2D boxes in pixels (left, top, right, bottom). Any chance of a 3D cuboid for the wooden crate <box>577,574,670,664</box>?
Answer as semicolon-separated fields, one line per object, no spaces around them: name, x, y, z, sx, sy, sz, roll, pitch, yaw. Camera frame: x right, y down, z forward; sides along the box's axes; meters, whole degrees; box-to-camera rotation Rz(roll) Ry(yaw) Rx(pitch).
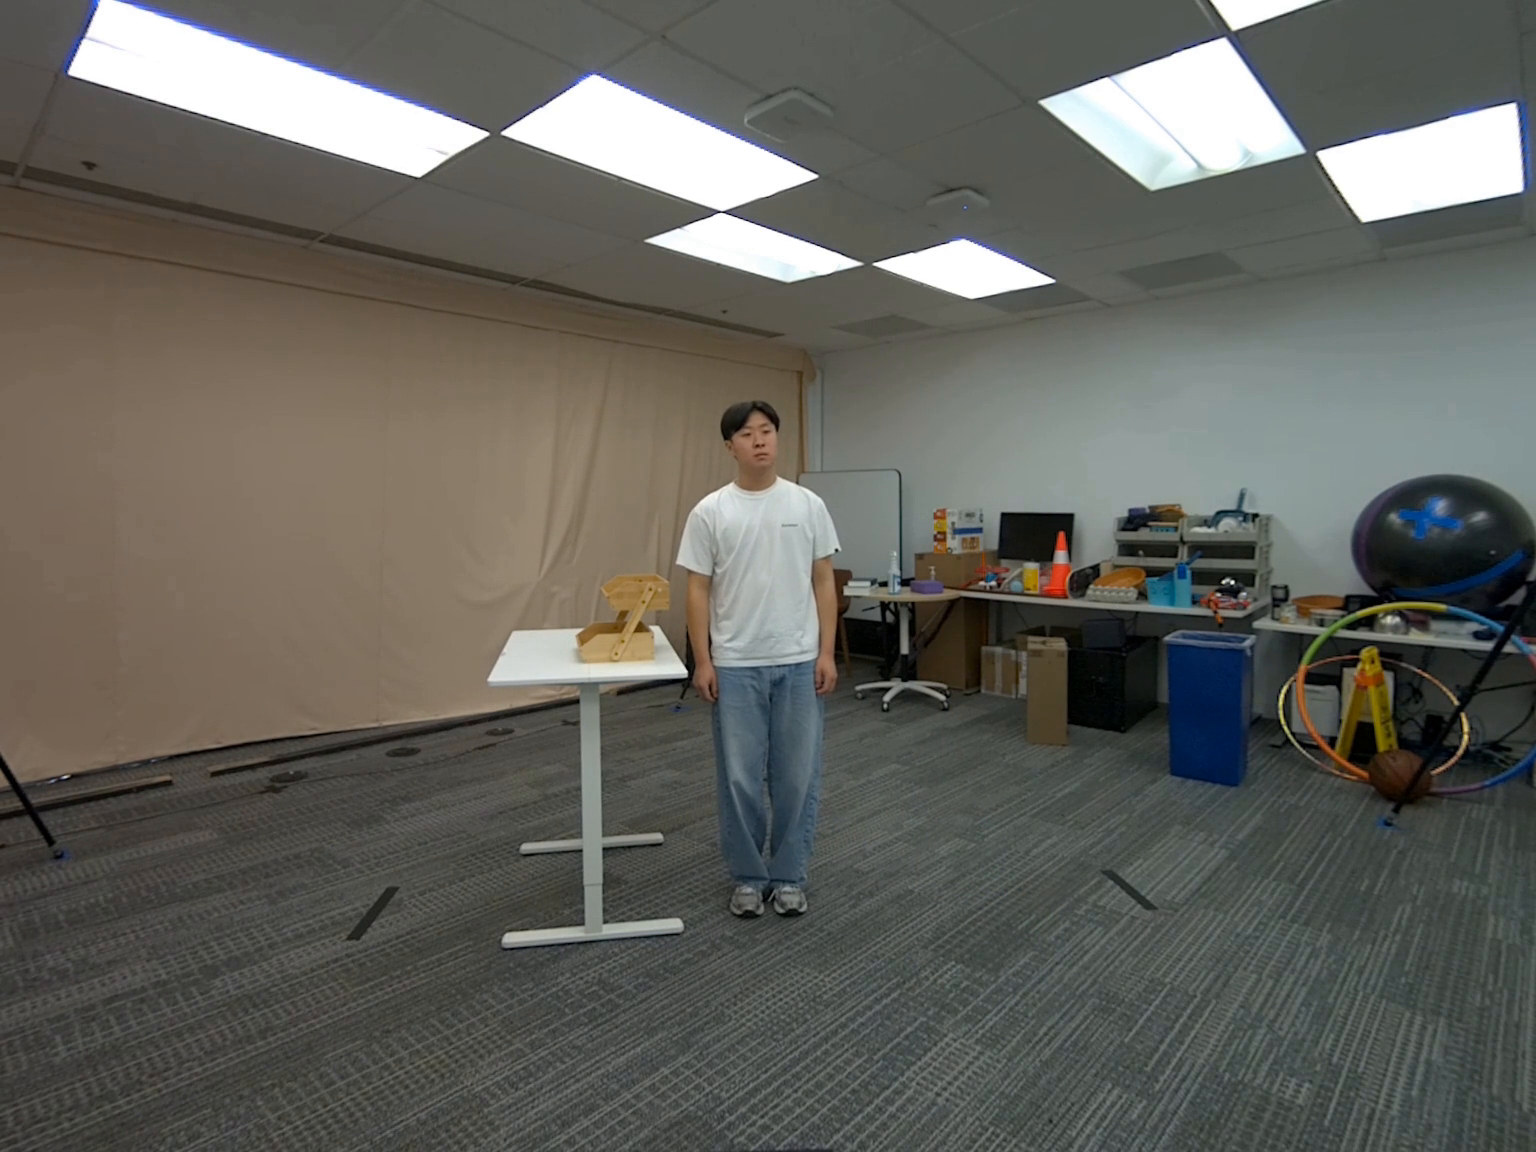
wooden crate;-0.511;0.141;2.926;0.298;0.272;0.330;-1;4;-13
